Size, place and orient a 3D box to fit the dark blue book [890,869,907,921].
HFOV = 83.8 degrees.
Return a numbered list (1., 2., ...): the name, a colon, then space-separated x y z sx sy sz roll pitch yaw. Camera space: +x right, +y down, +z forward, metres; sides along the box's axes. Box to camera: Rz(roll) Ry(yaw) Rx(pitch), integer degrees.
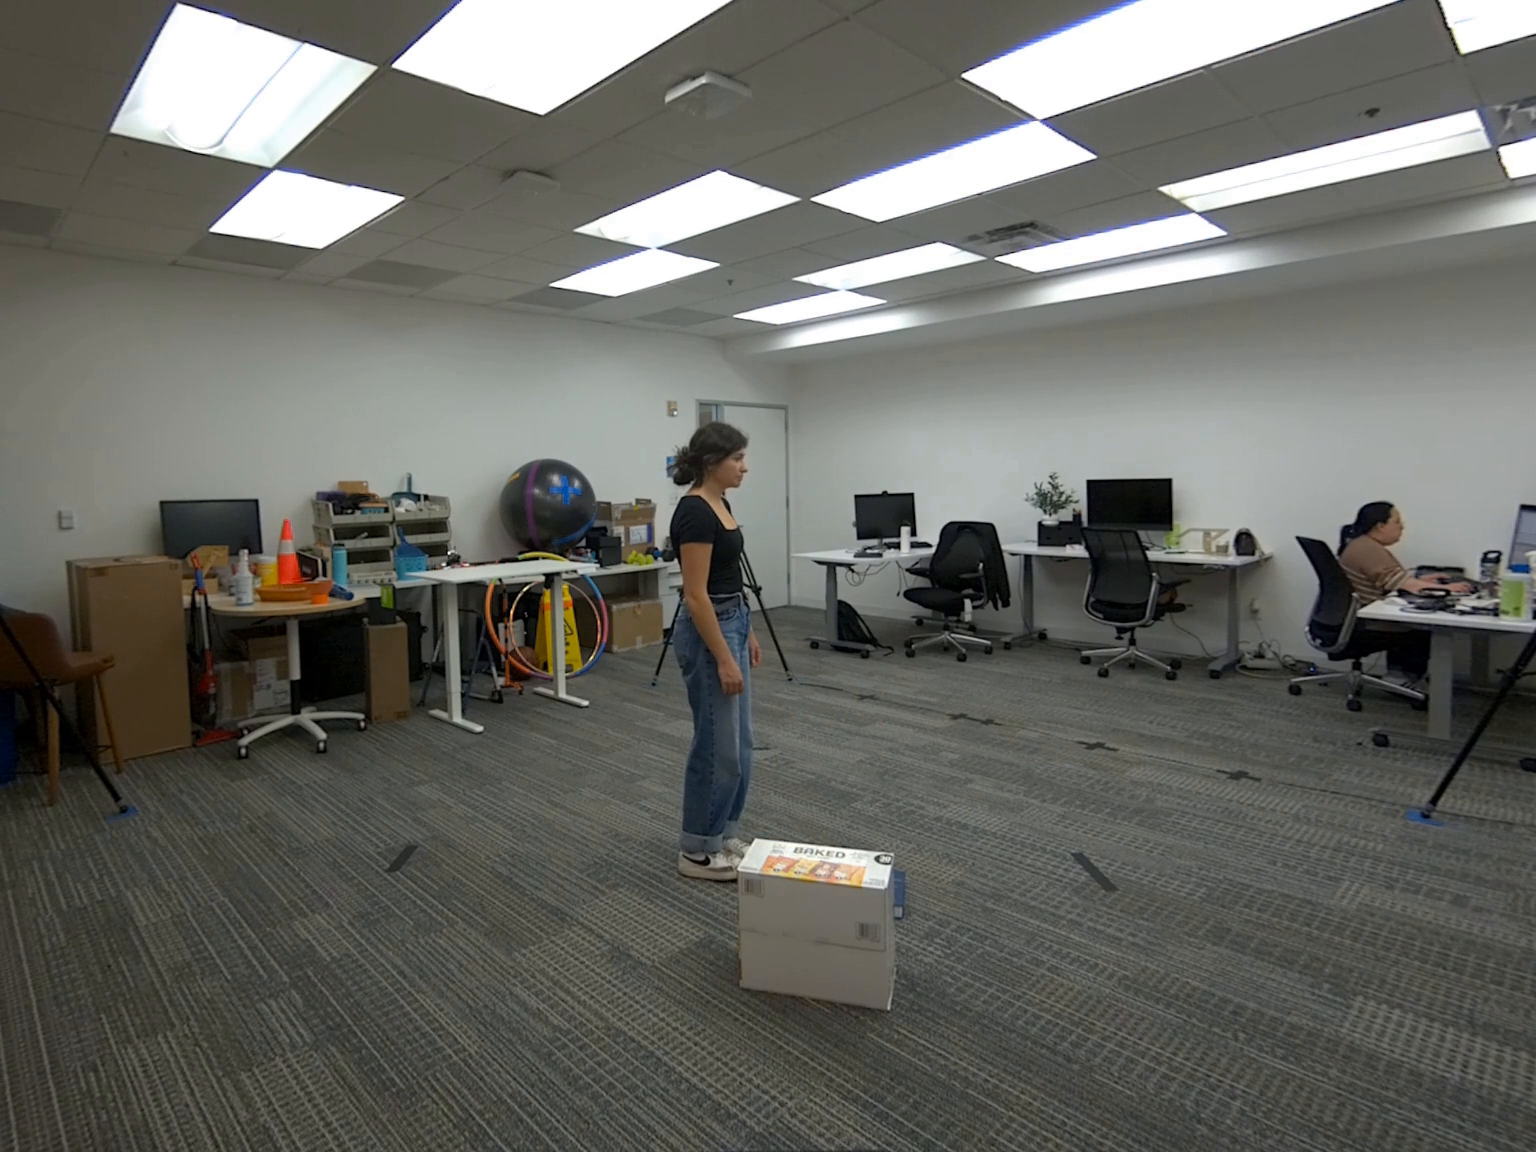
1. dark blue book: 0.375 1.044 2.831 0.165 0.045 0.243 1 6 11
